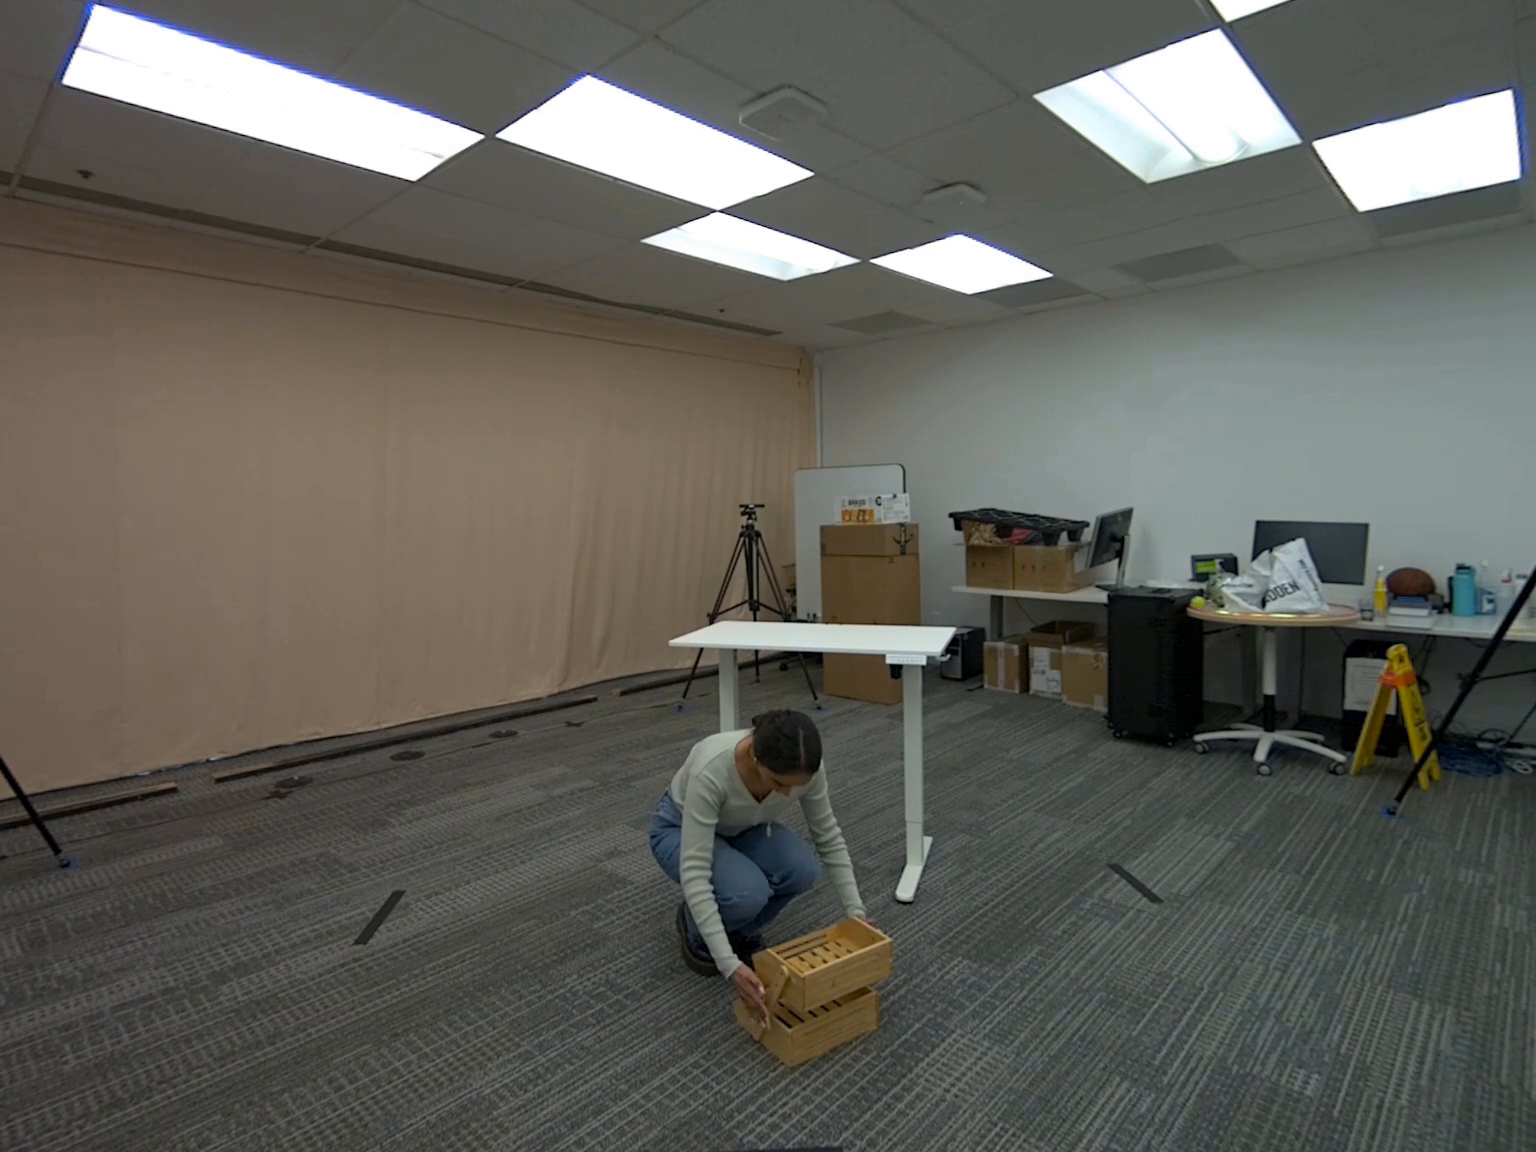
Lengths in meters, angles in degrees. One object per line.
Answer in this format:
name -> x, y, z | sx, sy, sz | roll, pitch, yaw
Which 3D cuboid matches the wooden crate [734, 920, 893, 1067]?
wooden crate -> 0.121, 1.069, 2.227 | 0.315, 0.273, 0.311 | -2, 5, -35
